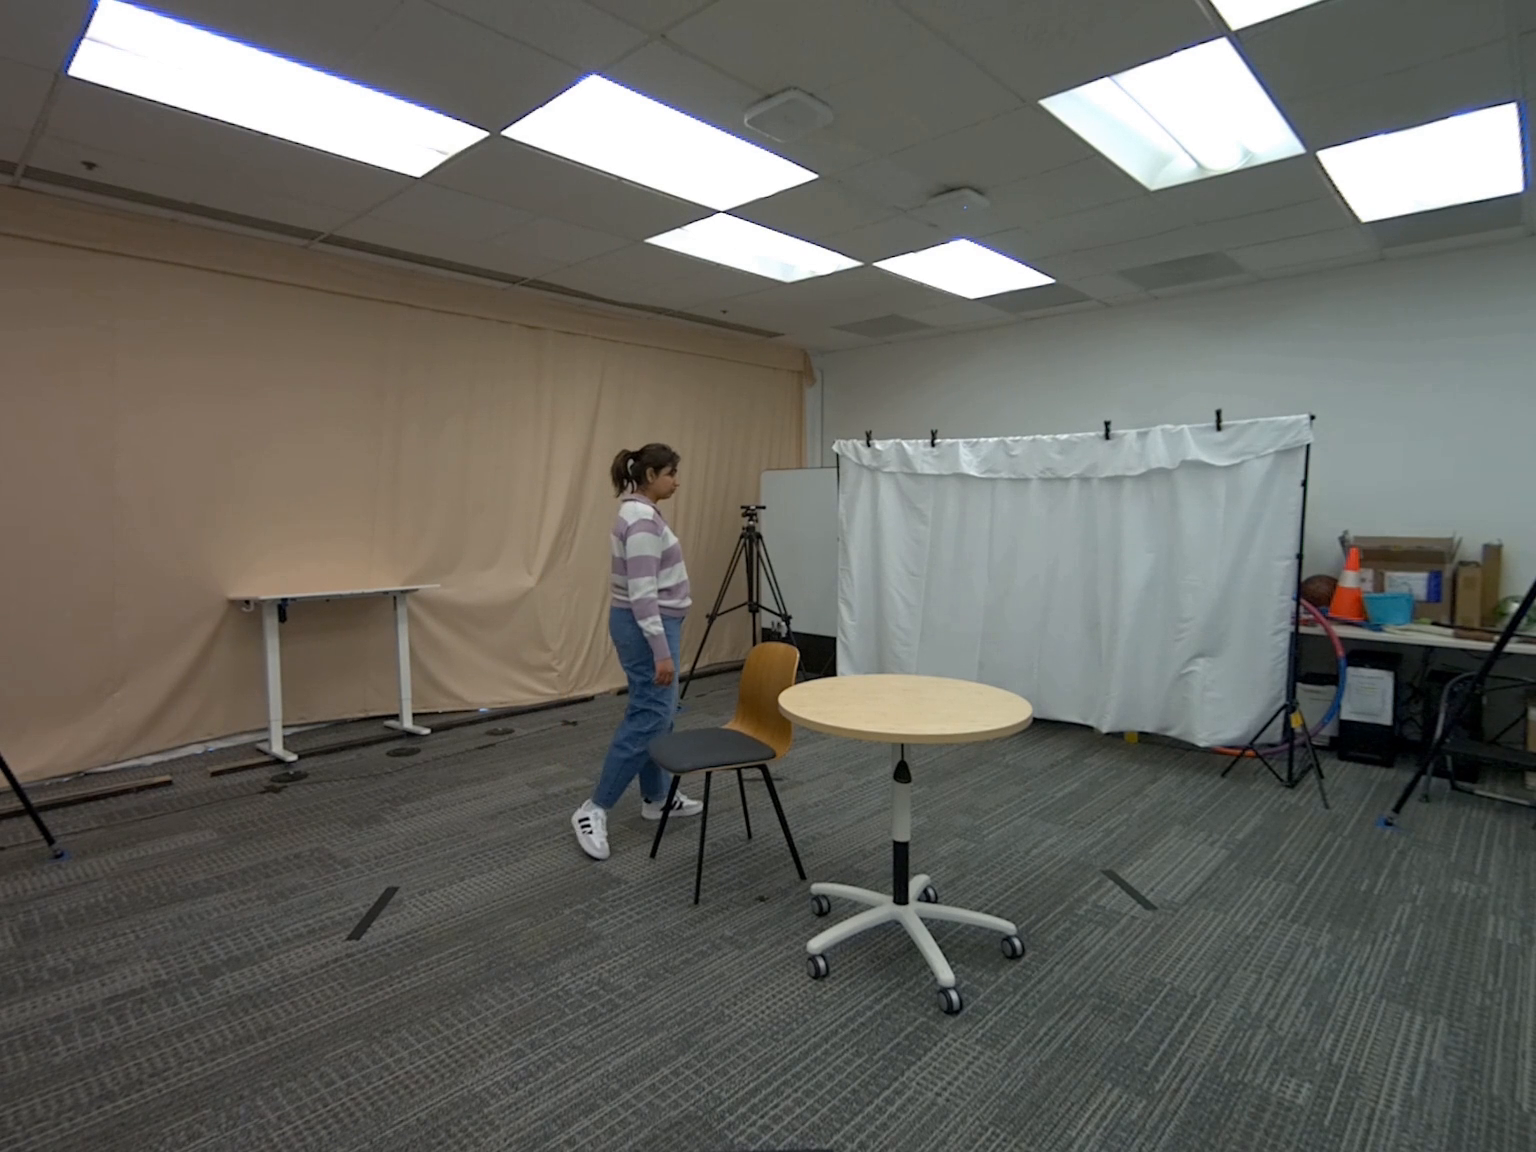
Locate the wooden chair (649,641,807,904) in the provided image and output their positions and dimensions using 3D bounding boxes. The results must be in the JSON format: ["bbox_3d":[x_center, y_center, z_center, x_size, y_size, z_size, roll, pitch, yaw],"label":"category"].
[{"bbox_3d":[-0.170,0.699,3.199,0.509,0.876,0.491,3,2,-27],"label":"wooden chair"}]
